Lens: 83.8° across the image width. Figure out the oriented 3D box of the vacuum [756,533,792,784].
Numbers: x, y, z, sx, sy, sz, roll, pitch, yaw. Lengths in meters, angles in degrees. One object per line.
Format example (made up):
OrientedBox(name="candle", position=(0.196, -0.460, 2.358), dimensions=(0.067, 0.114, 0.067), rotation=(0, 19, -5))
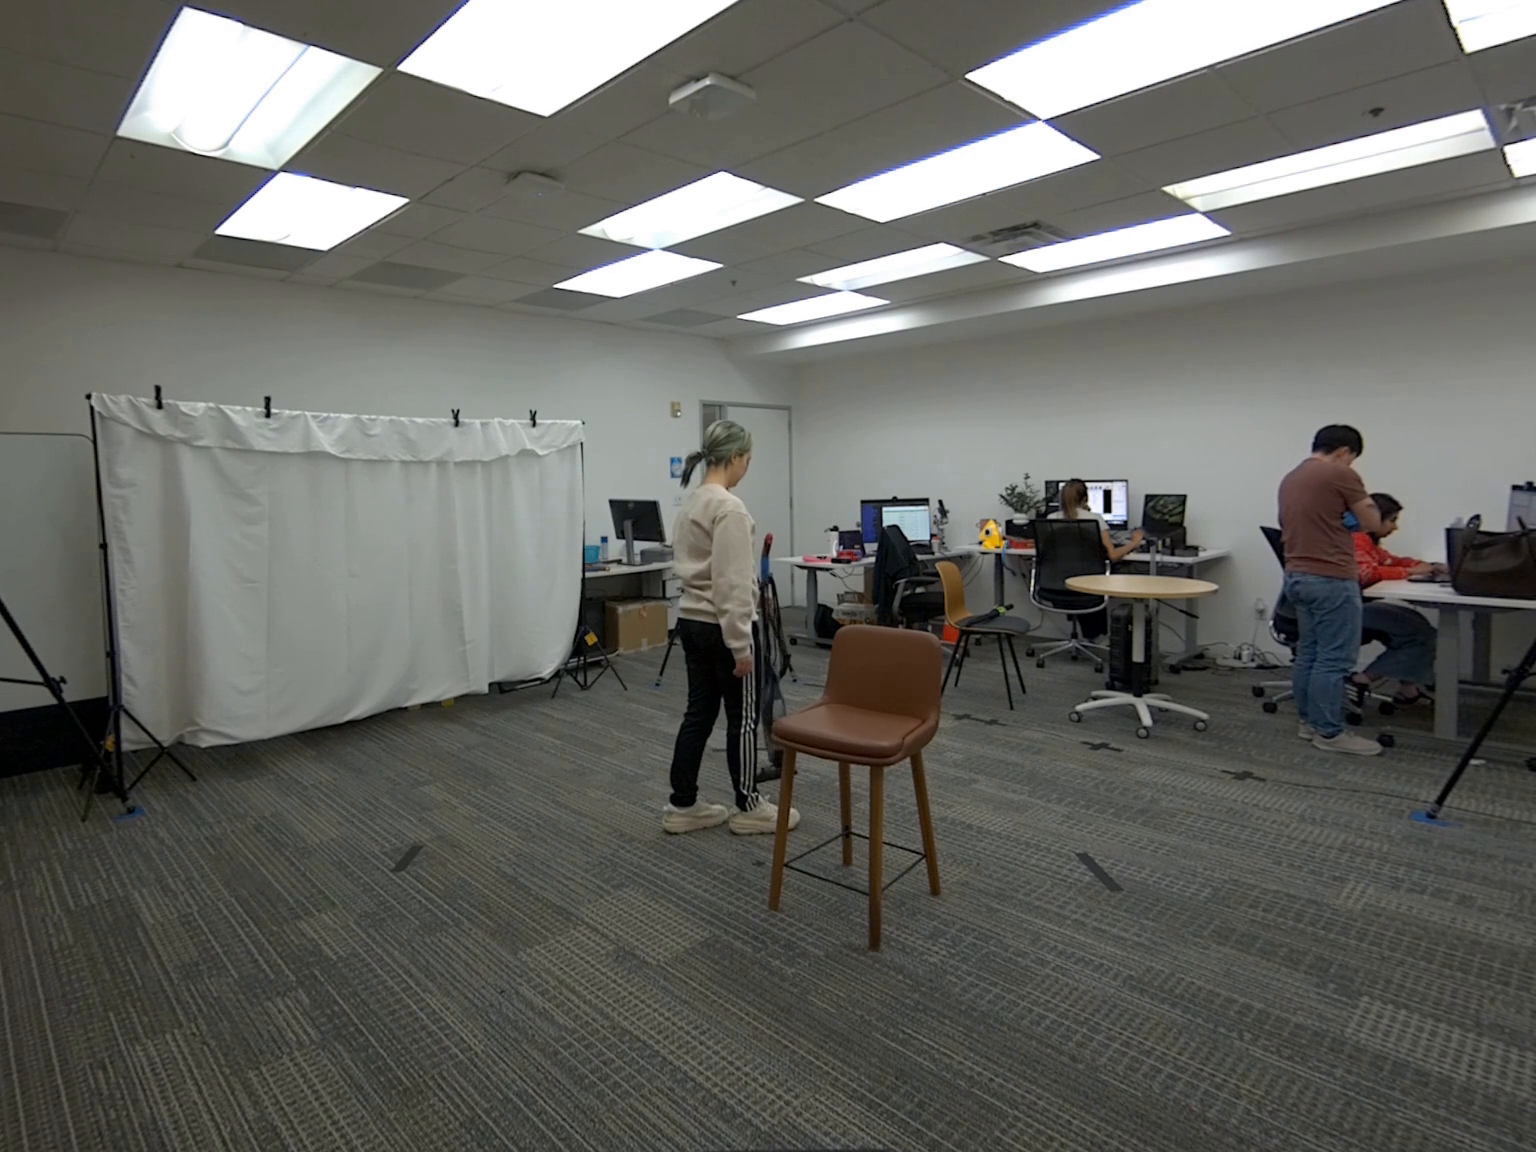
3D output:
OrientedBox(name="vacuum", position=(0.018, 0.350, 3.620), dimensions=(0.247, 1.041, 0.148), rotation=(-3, 9, -27))
